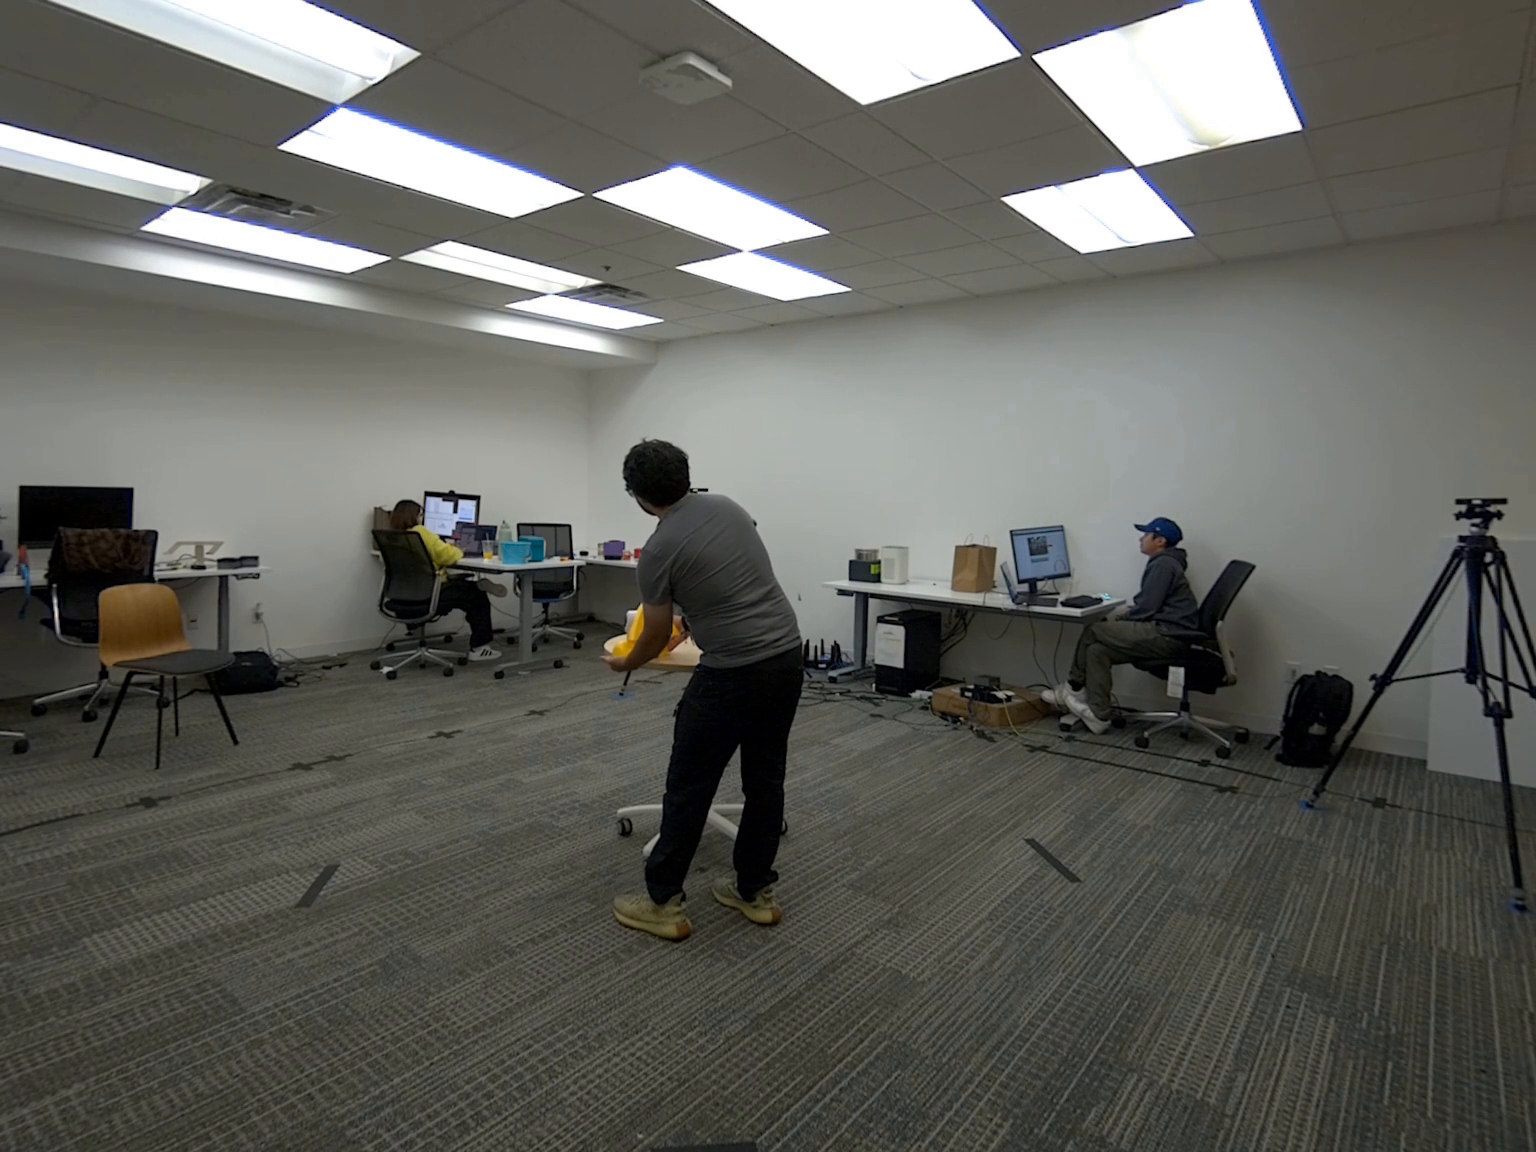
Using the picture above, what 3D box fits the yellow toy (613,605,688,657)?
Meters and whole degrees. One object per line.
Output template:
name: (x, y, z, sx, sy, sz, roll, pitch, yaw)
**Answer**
yellow toy: (-0.467, 0.174, 3.083, 0.199, 0.230, 0.200, -4, 7, -41)
